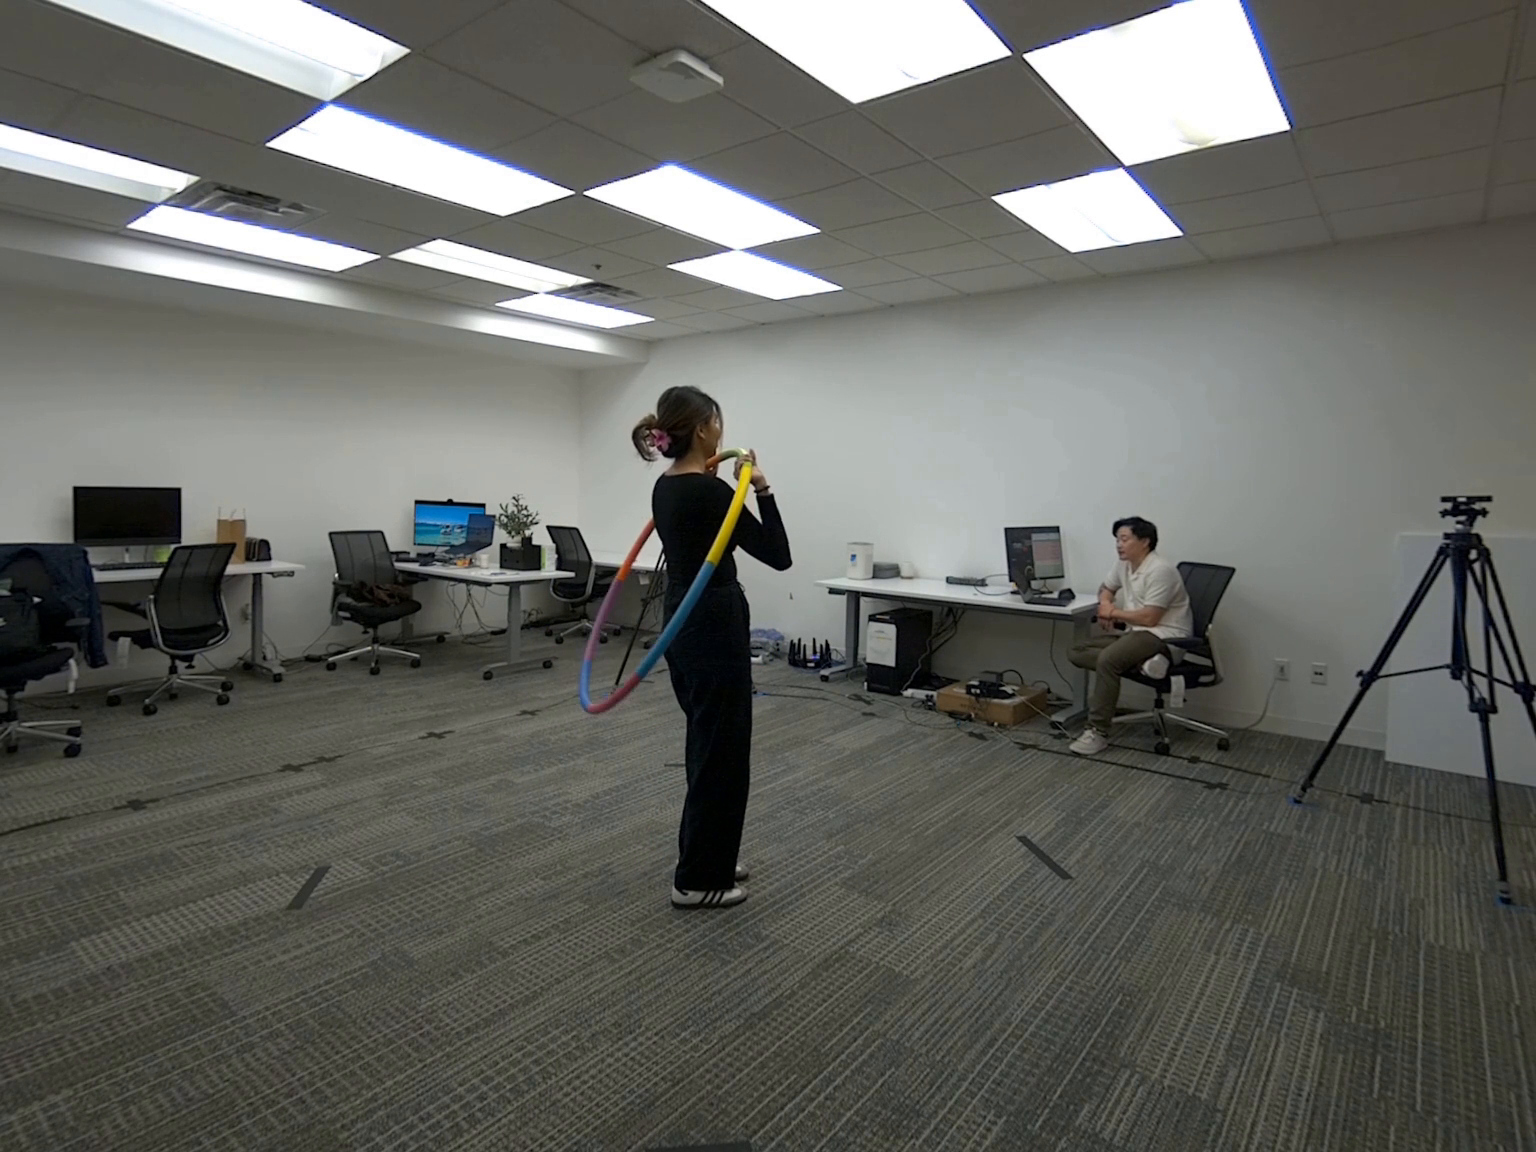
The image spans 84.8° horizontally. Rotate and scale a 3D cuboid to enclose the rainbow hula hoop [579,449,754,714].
[{"bbox_3d":[-0.364,-0.014,2.776,0.035,0.980,1.001,33,-7,-20],"label":"rainbow hula hoop"}]
